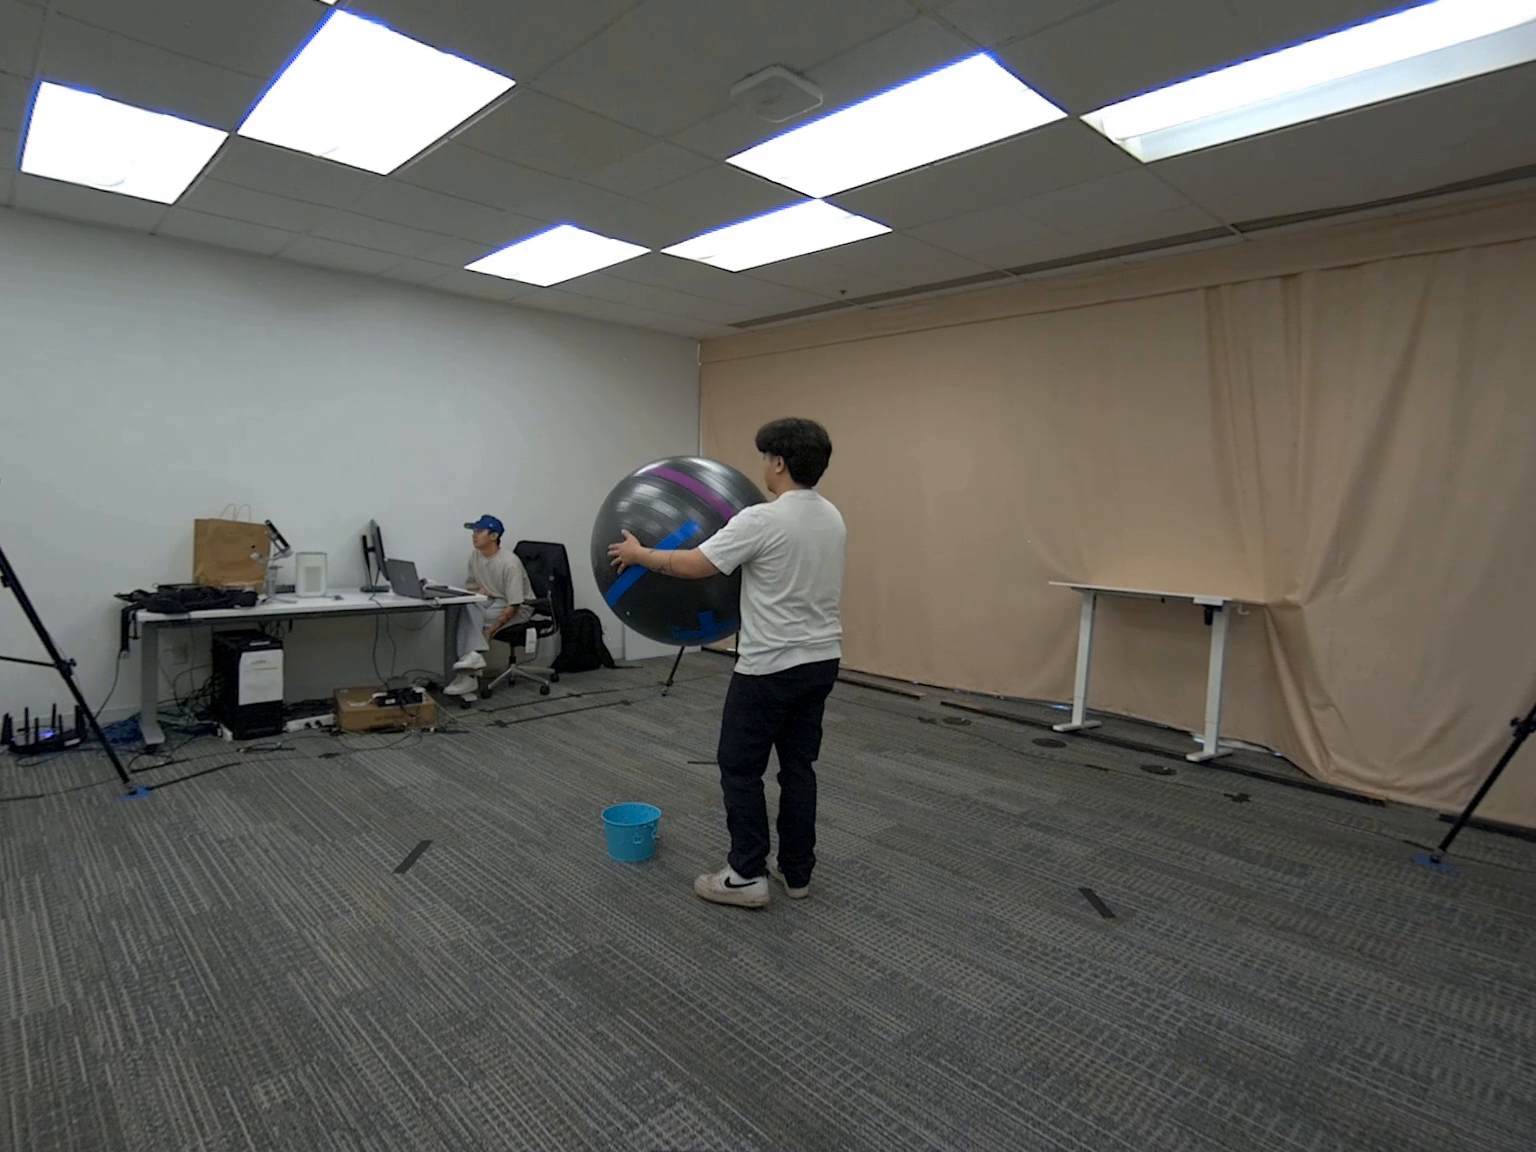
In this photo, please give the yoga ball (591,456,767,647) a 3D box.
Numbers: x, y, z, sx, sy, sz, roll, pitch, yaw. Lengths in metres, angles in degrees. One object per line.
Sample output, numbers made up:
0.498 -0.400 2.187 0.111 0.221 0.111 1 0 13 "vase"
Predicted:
-0.331 -0.096 3.376 0.757 0.756 0.760 1 4 -1 "yoga ball"
